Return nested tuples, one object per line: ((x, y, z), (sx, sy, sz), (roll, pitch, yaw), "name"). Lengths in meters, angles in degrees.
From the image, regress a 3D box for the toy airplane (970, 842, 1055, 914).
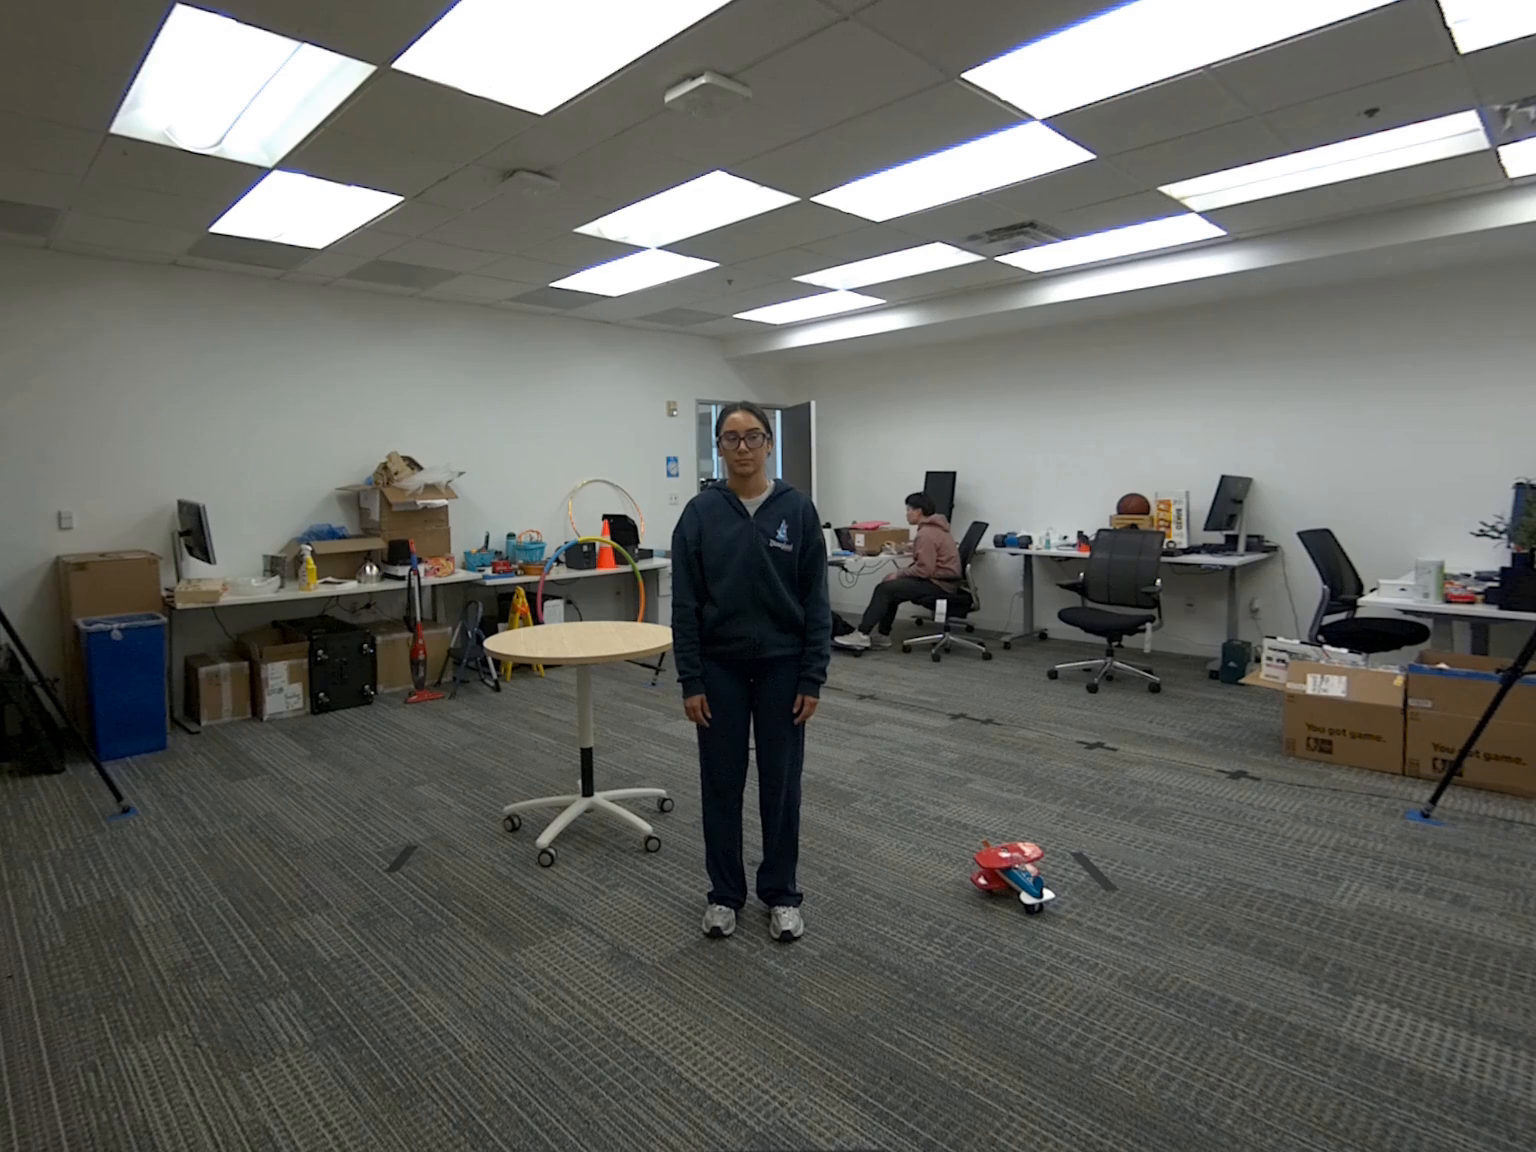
((0.832, 0.991, 2.798), (0.267, 0.156, 0.244), (3, 6, 42), "toy airplane")
